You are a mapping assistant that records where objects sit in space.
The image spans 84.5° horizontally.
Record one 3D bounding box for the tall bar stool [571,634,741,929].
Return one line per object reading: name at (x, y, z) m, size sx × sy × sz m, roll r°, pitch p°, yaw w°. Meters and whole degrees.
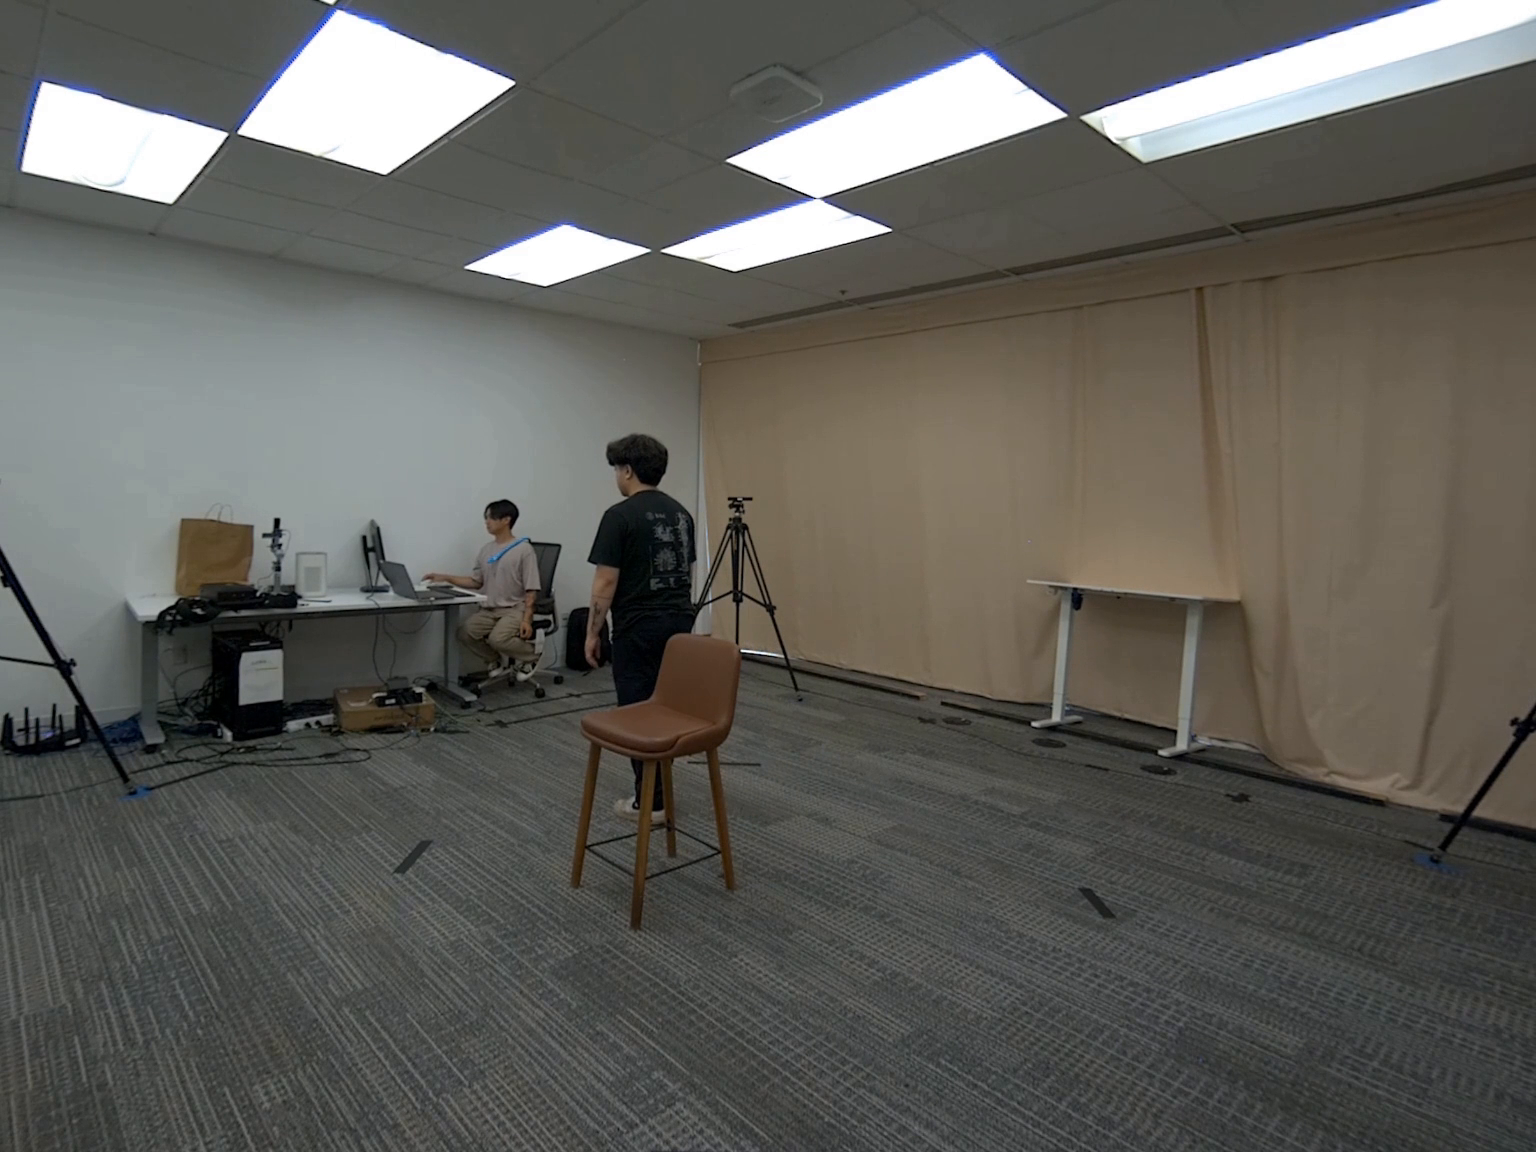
tall bar stool at (-0.392, 0.685, 2.965) m, size 0.456 × 0.888 × 0.468 m, roll 0°, pitch 4°, yaw -43°
